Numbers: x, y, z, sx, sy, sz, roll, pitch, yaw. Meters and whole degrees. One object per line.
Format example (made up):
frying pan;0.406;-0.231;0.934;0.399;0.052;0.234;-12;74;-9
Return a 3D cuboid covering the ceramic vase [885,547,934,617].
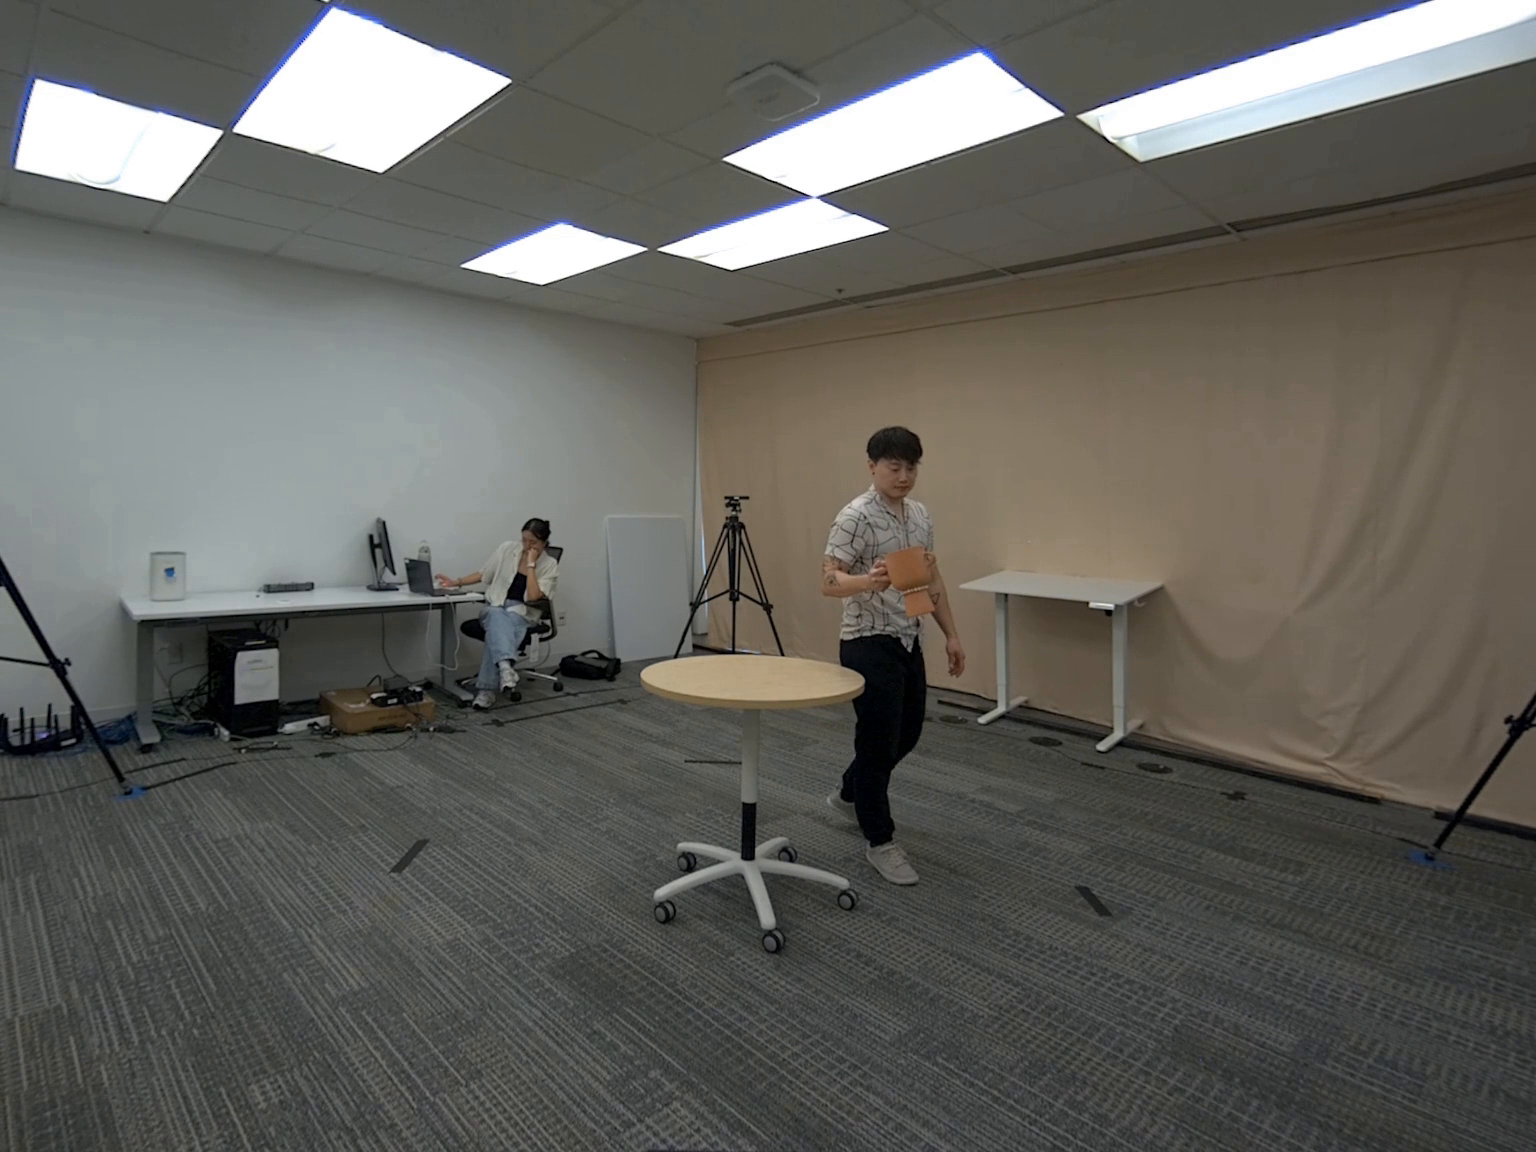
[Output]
ceramic vase;0.475;0.017;2.797;0.133;0.220;0.160;-14;0;-19
